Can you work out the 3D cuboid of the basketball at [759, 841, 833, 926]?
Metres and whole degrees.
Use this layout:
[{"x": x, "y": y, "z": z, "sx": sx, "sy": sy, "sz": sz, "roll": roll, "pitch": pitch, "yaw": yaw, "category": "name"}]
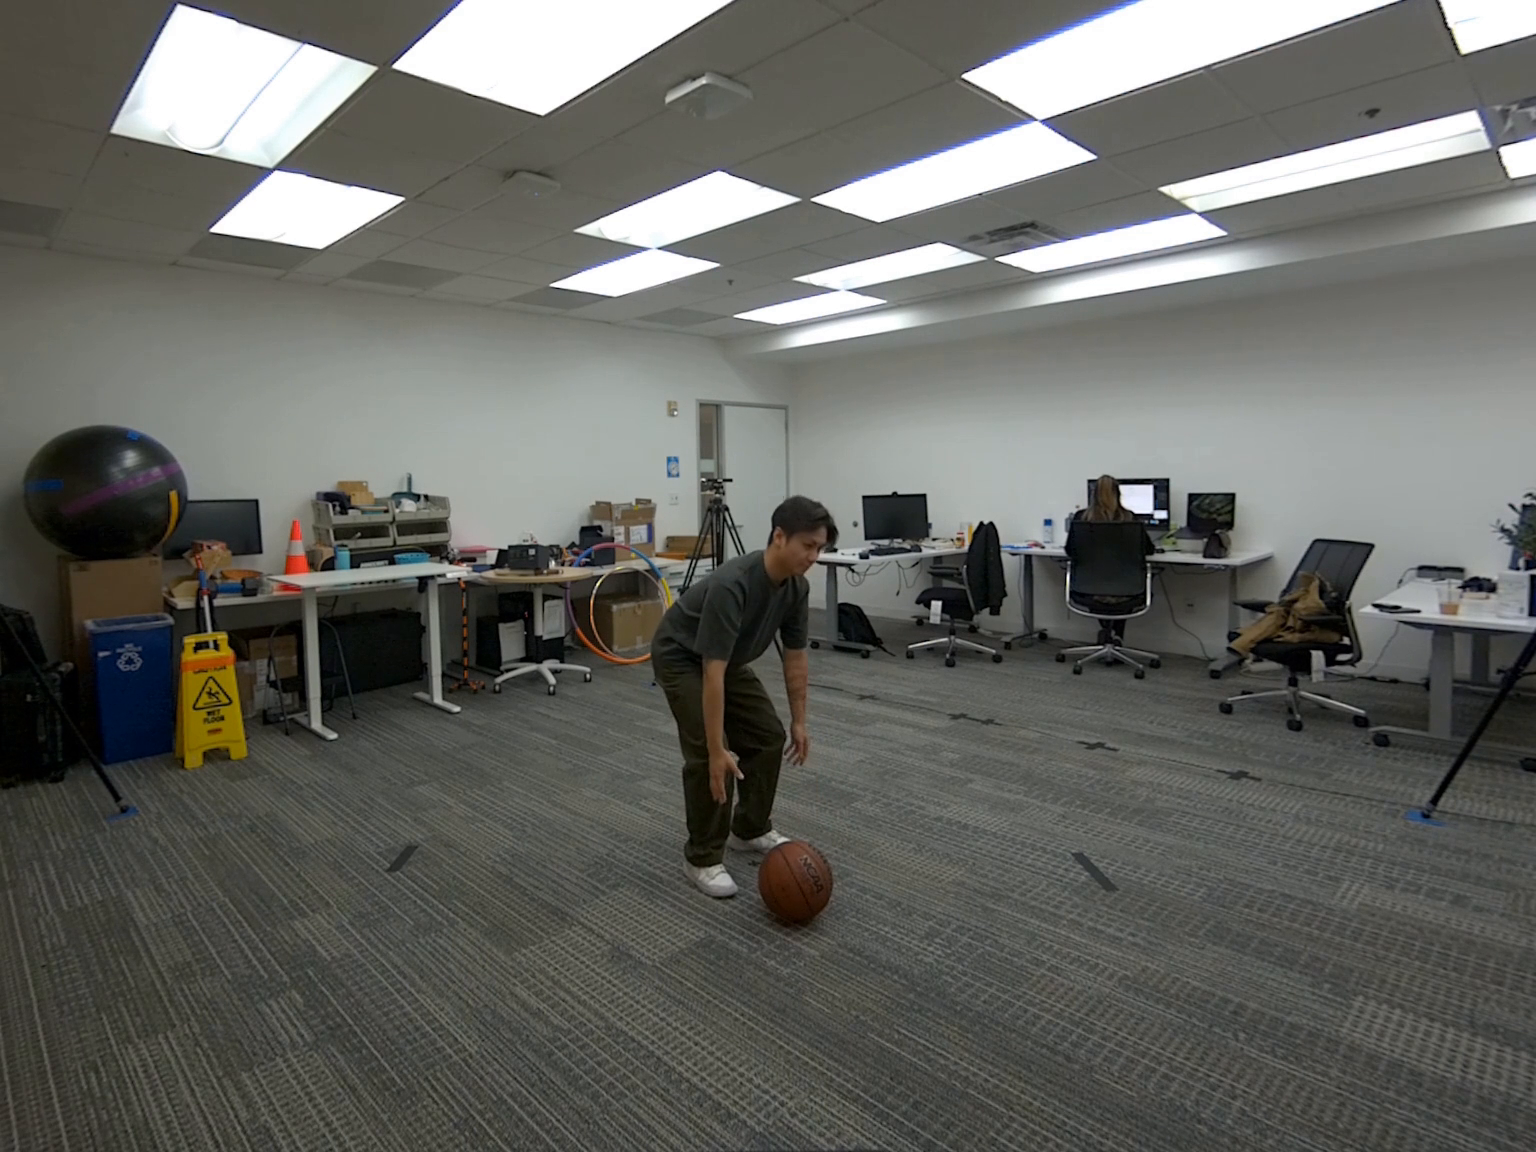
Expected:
[{"x": 0.091, "y": 0.961, "z": 2.720, "sx": 0.236, "sy": 0.235, "sz": 0.237, "roll": -1, "pitch": 5, "yaw": -2, "category": "basketball"}]
